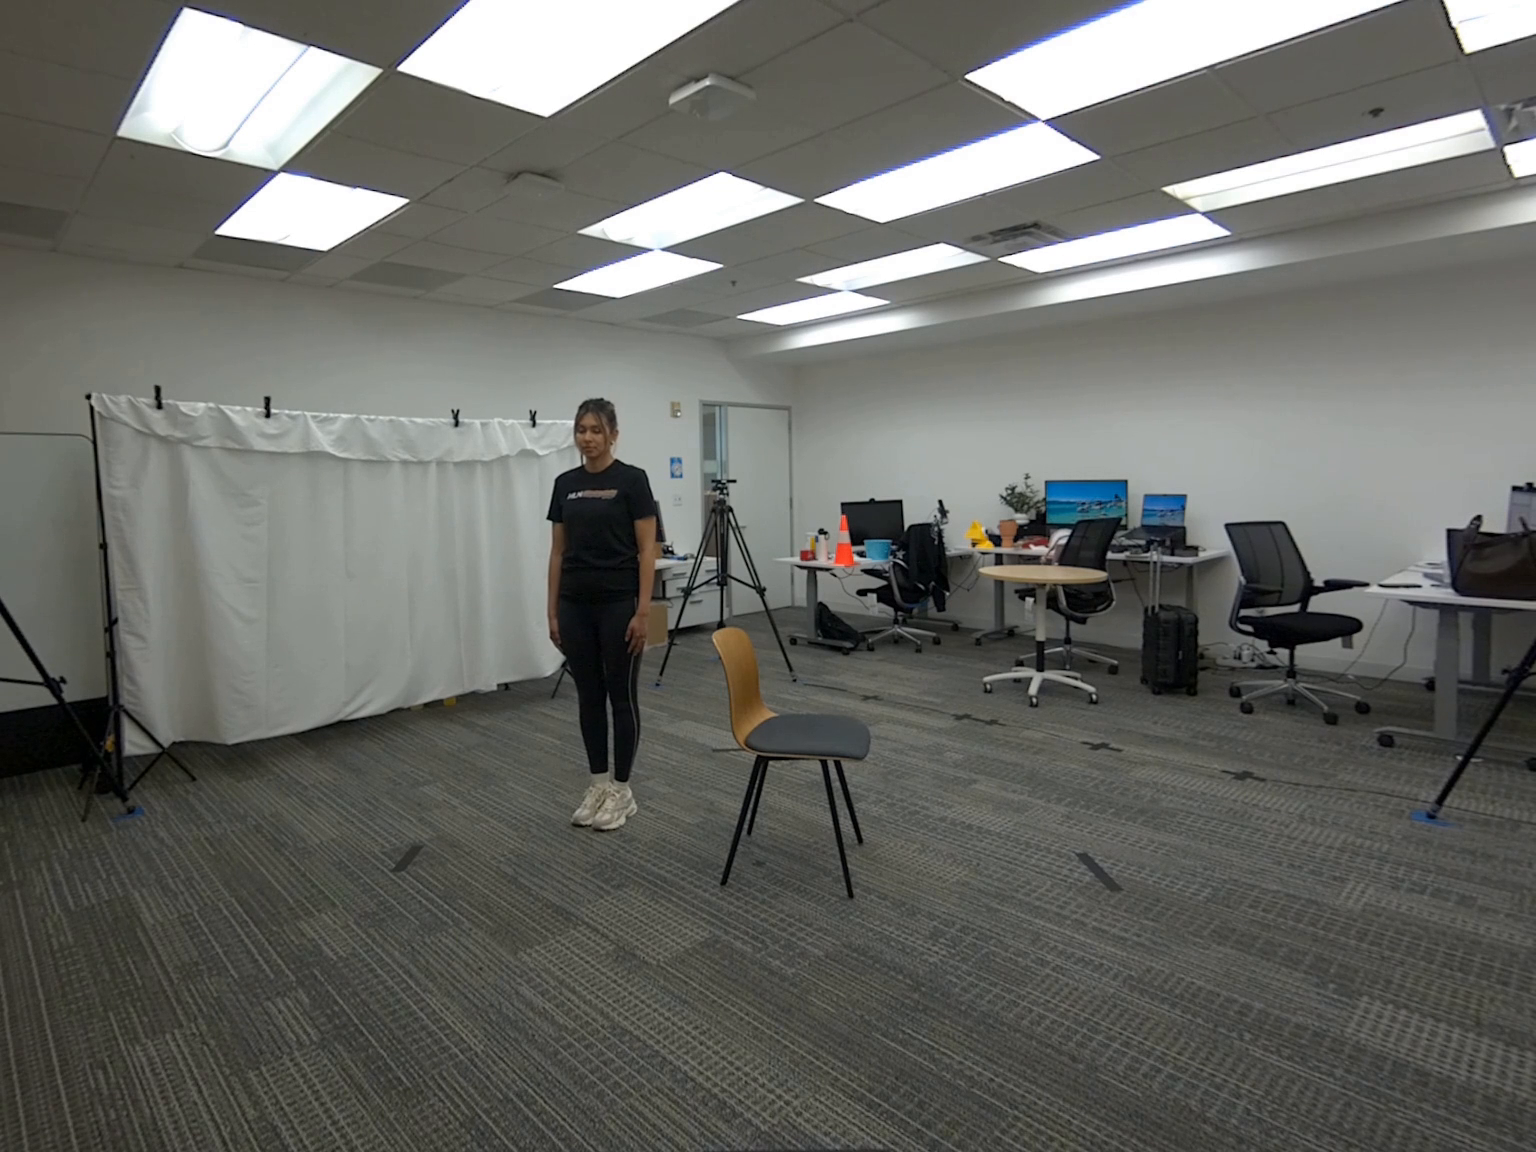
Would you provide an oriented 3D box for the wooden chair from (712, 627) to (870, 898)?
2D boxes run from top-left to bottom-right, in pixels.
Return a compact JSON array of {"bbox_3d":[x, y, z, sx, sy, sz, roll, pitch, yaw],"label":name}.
[{"bbox_3d":[0.106,0.619,3.072,0.530,0.875,0.473,-4,3,13],"label":"wooden chair"}]
